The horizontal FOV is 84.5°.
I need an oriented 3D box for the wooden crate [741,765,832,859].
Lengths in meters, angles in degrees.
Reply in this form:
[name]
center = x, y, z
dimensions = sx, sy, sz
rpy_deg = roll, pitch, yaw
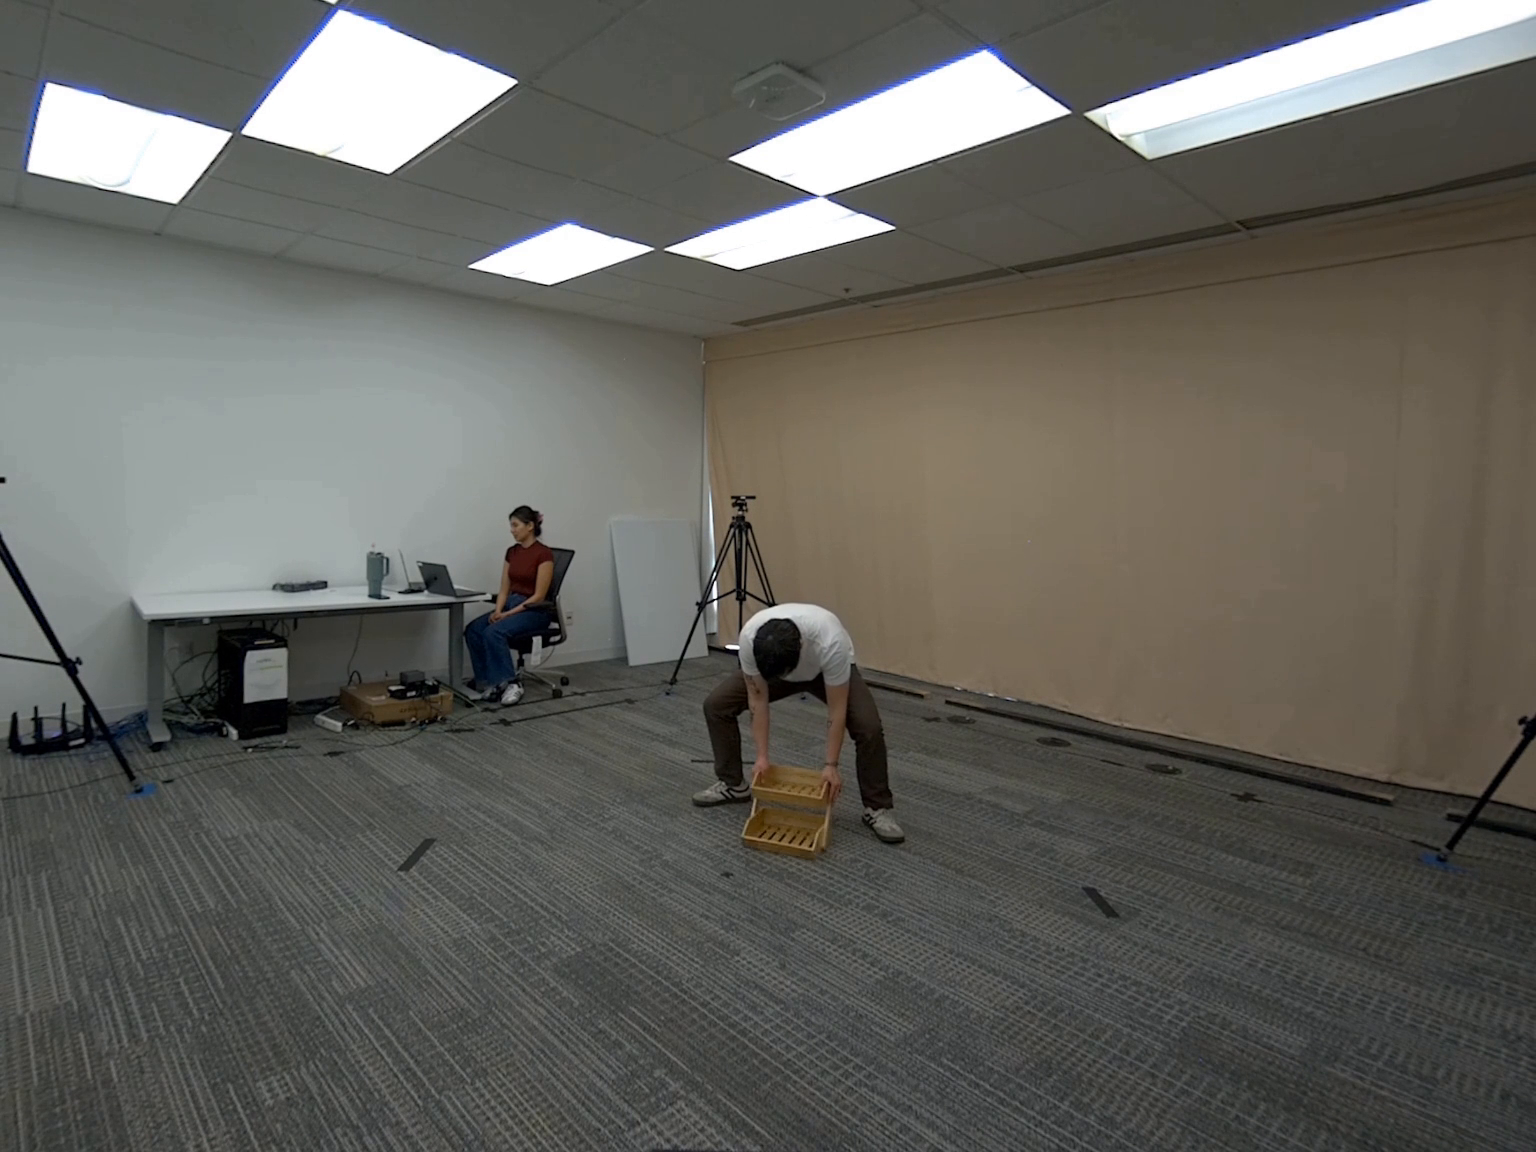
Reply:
[wooden crate]
center = 0.080, 0.946, 3.414
dimensions = 0.330, 0.273, 0.297
rpy_deg = 3, 3, 20
